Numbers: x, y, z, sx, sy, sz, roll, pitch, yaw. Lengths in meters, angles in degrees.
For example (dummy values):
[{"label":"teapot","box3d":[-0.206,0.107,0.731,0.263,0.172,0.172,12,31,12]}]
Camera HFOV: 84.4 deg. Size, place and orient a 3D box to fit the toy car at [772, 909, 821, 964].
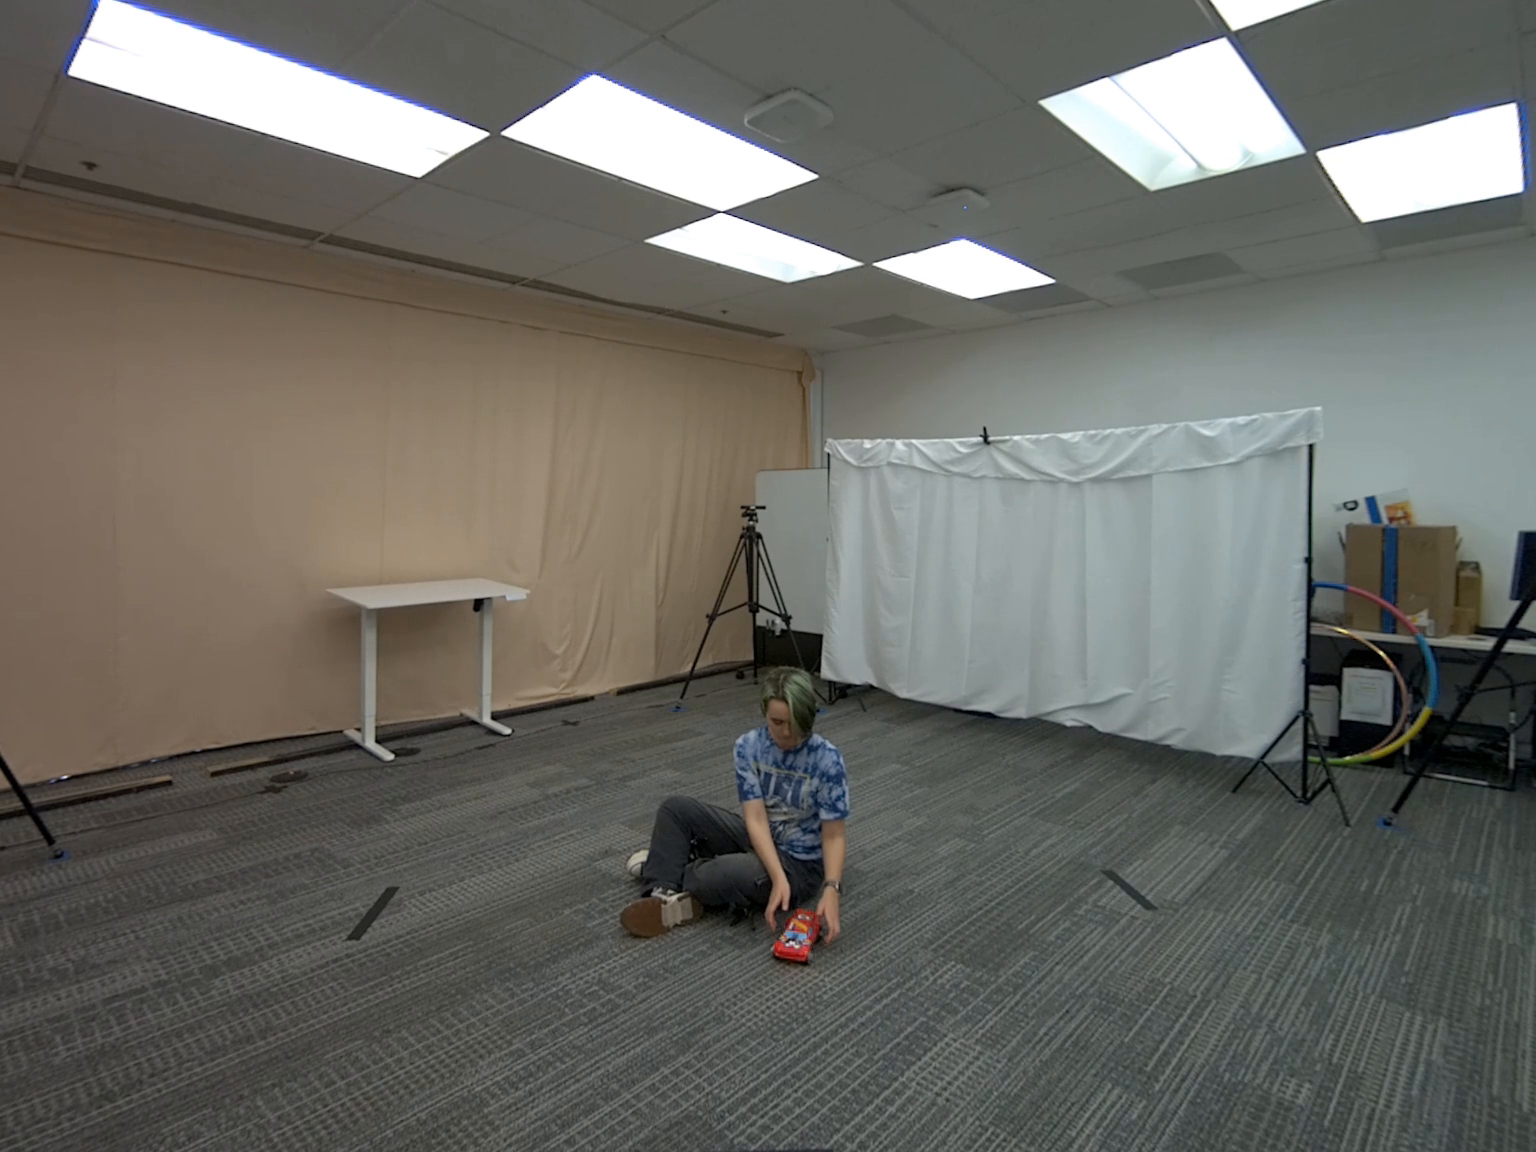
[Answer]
[{"label":"toy car","box3d":[0.099,1.135,2.660,0.133,0.082,0.252,1,16,17]}]
